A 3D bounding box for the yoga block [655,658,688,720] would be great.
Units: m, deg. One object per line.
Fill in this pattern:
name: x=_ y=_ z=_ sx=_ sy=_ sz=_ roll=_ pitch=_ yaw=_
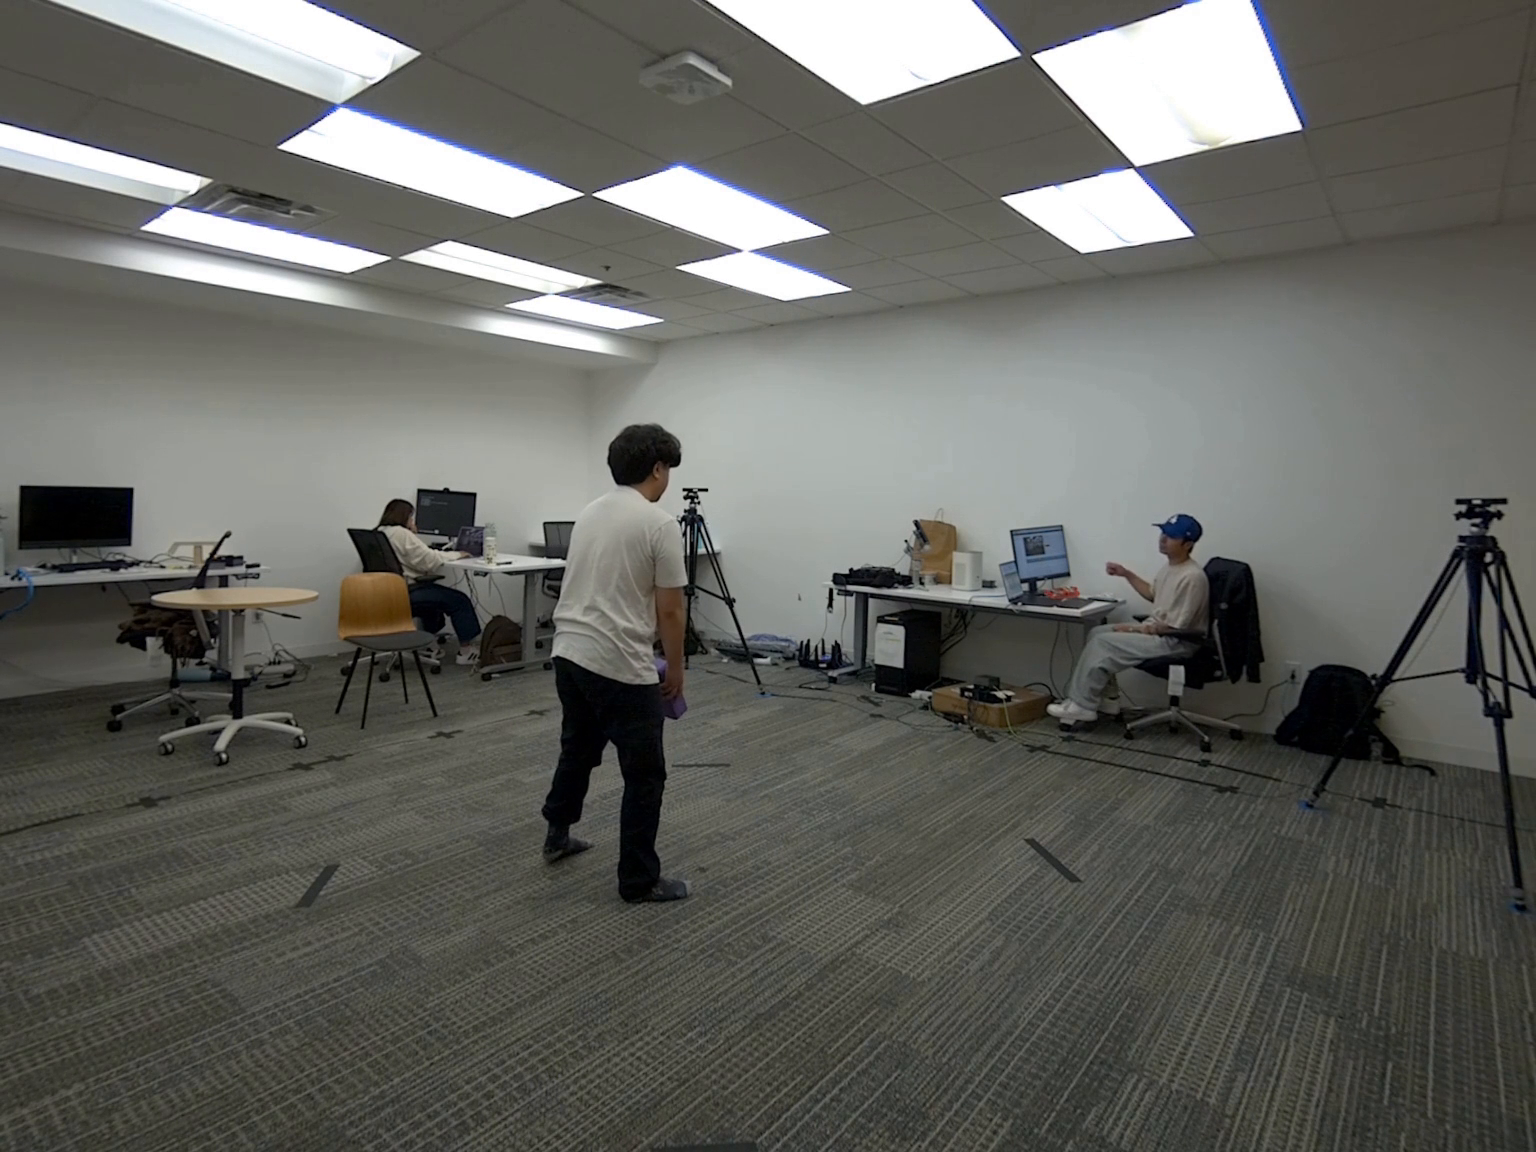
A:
yoga block: x=-0.409 y=0.410 z=3.156 sx=0.154 sy=0.223 sz=0.076 roll=7 pitch=33 yaw=40
